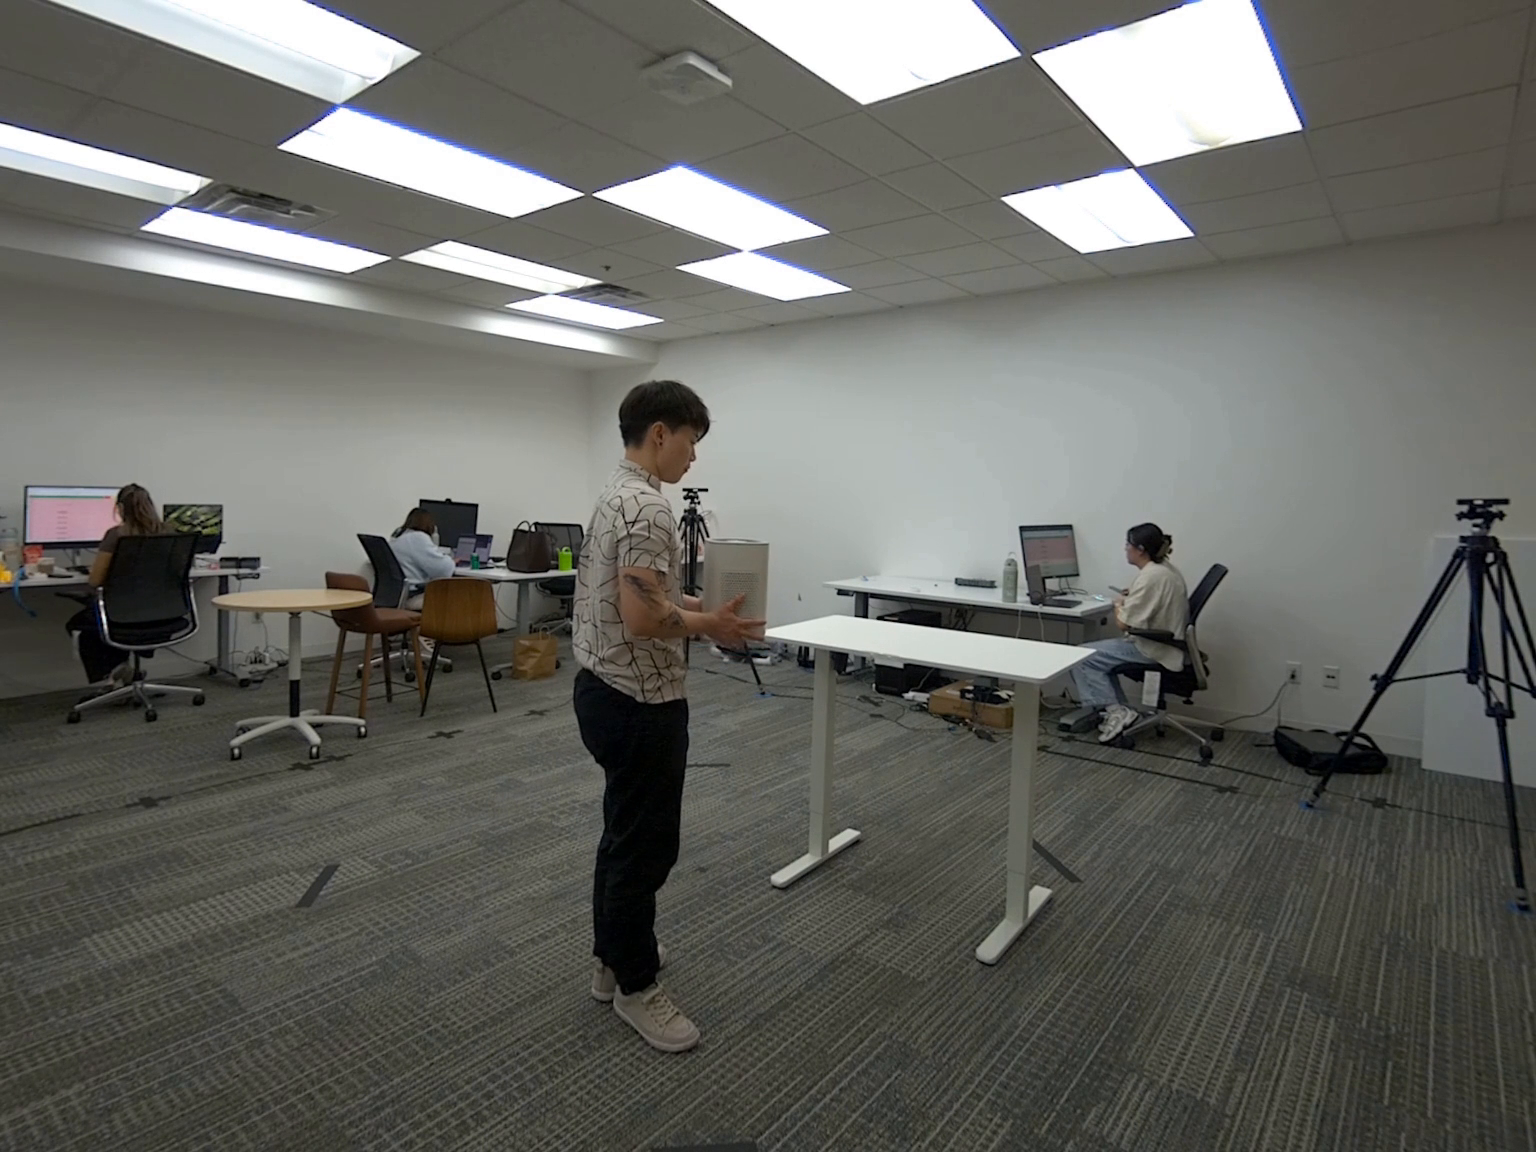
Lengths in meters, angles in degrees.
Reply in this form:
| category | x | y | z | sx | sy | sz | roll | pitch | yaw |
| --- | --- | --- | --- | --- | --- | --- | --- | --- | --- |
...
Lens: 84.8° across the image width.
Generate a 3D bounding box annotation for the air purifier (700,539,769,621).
| category | x | y | z | sx | sy | sz | roll | pitch | yaw |
| --- | --- | --- | --- | --- | --- | --- | --- | --- | --- |
| air purifier | -0.095 | 0.038 | 2.307 | 0.169 | 0.264 | 0.174 | 0 | 4 | -12 |
